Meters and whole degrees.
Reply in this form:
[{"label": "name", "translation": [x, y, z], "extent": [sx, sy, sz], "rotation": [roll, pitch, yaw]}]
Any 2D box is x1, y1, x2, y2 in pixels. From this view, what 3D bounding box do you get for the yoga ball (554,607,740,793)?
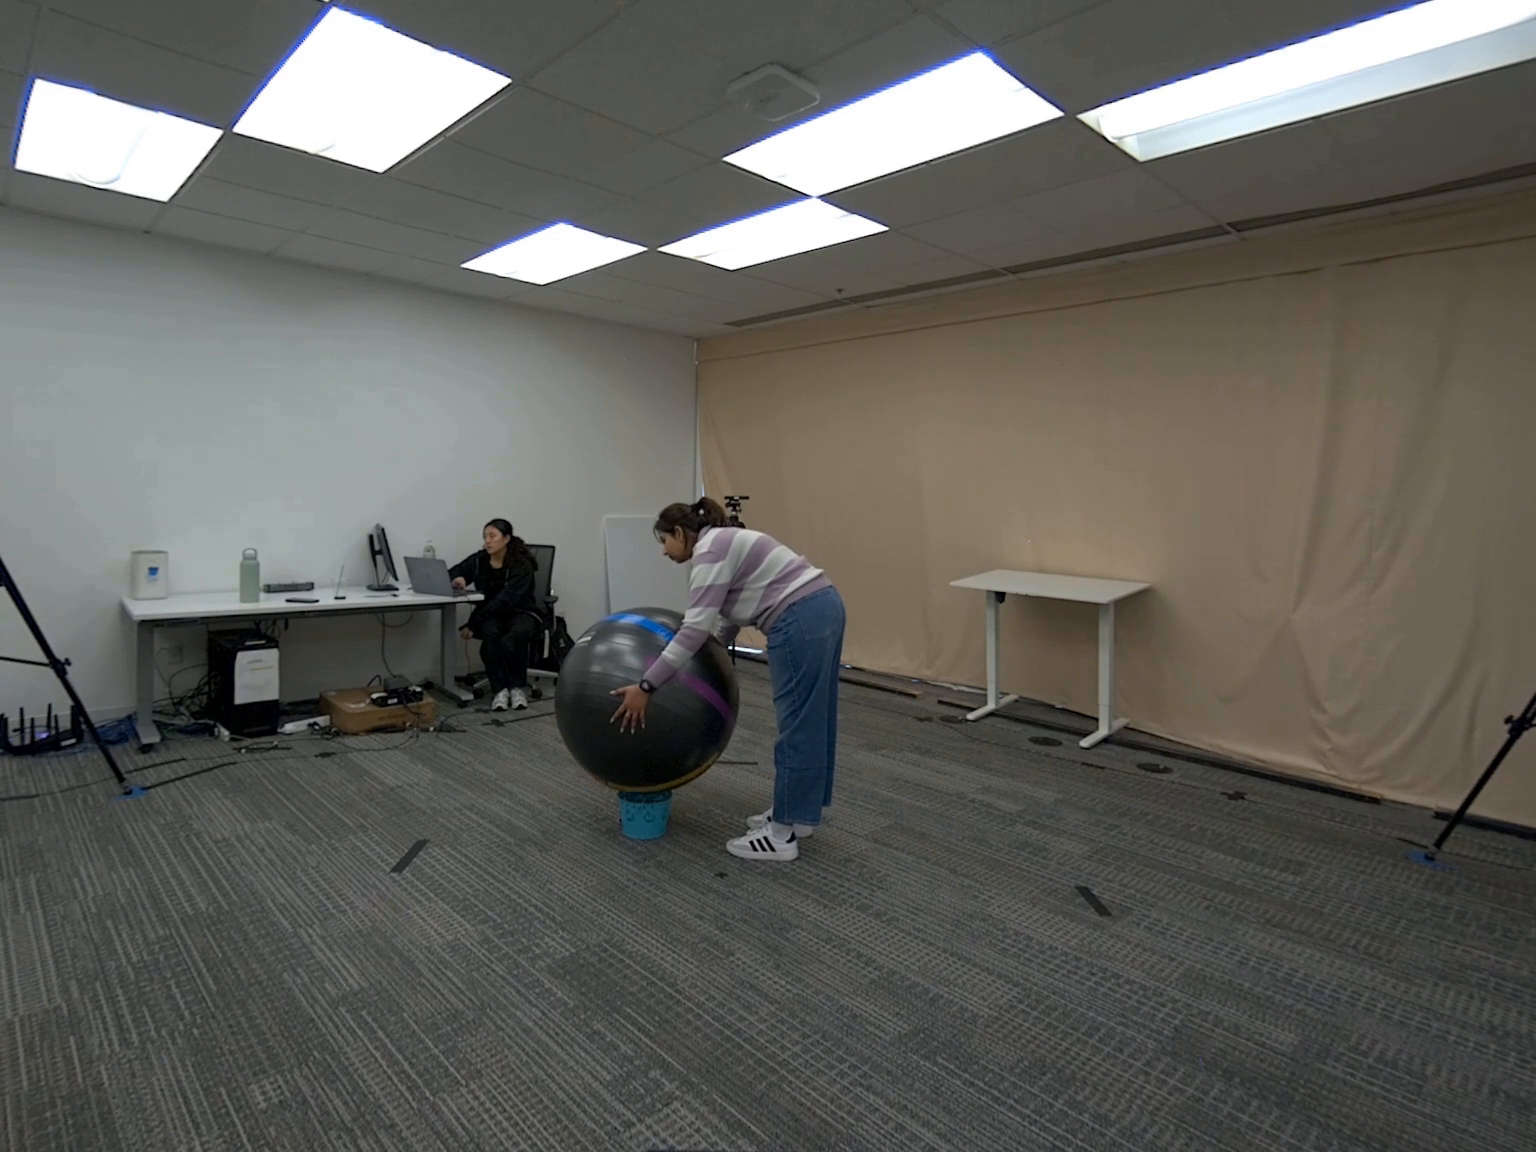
[{"label": "yoga ball", "translation": [-0.508, 0.508, 3.504], "extent": [0.757, 0.756, 0.761], "rotation": [1, 4, -1]}]
